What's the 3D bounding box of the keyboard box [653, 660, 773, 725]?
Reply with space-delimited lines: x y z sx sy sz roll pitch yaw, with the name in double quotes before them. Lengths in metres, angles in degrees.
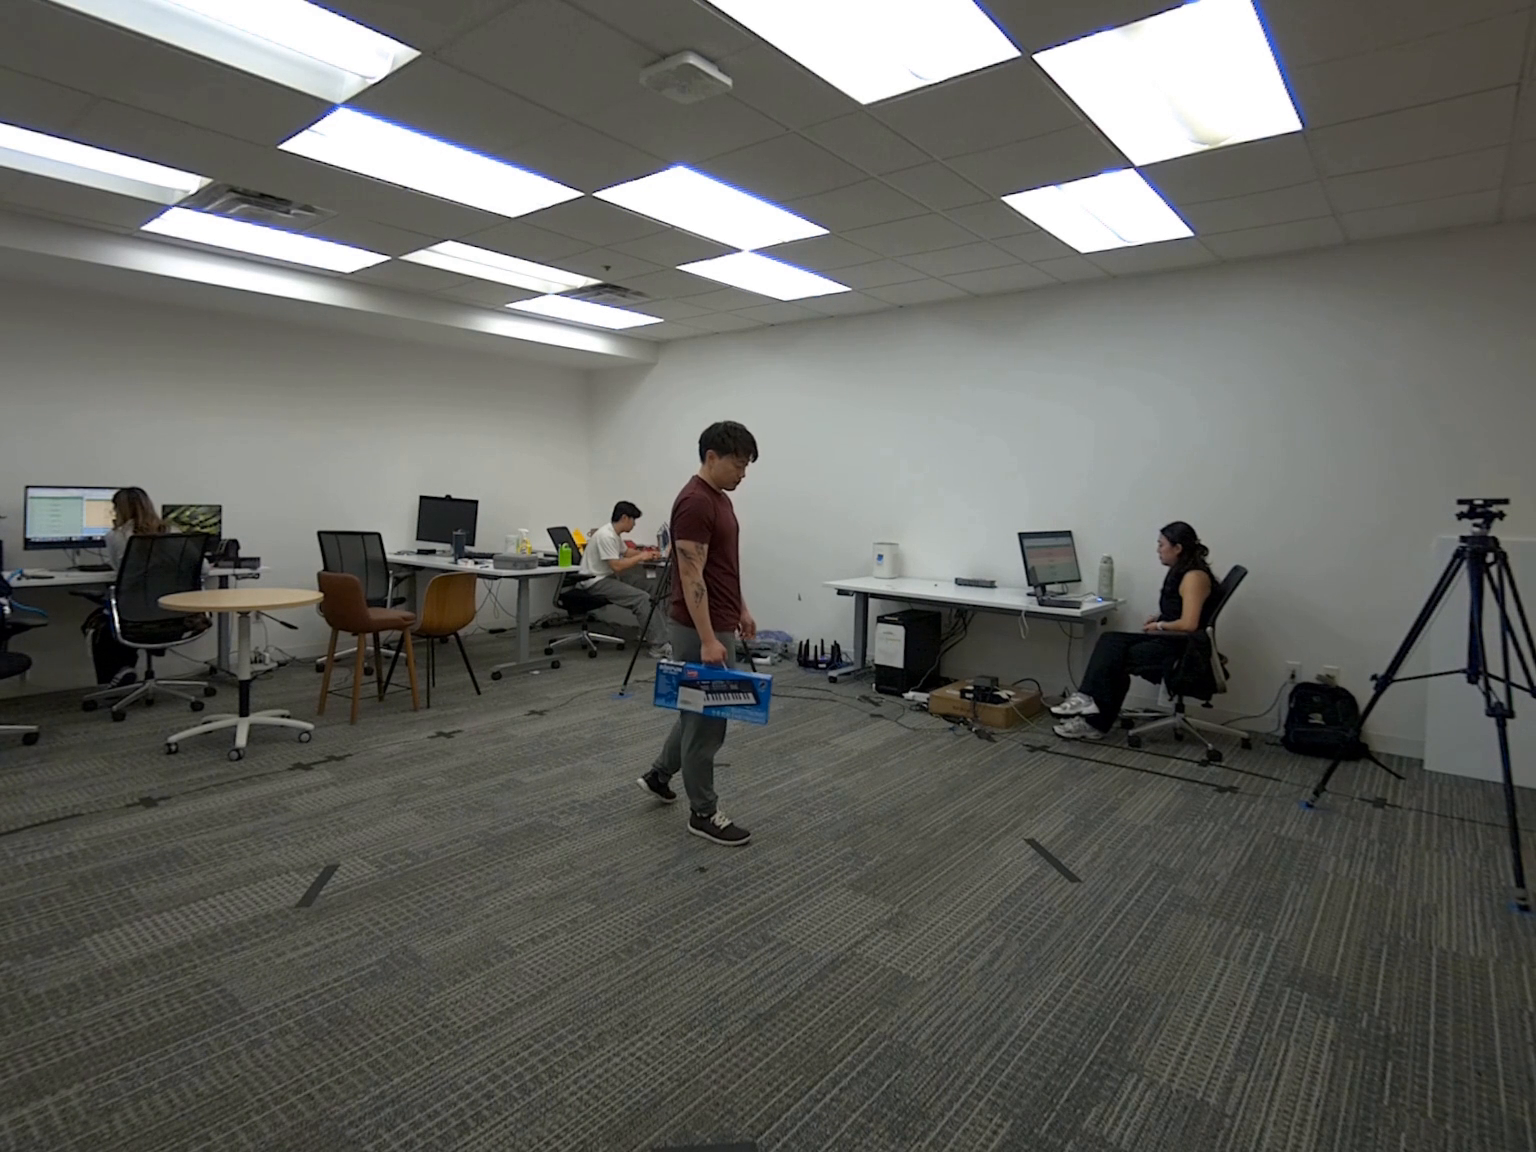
"keyboard box" -0.219 0.423 3.169 0.444 0.175 0.058 7 6 14
